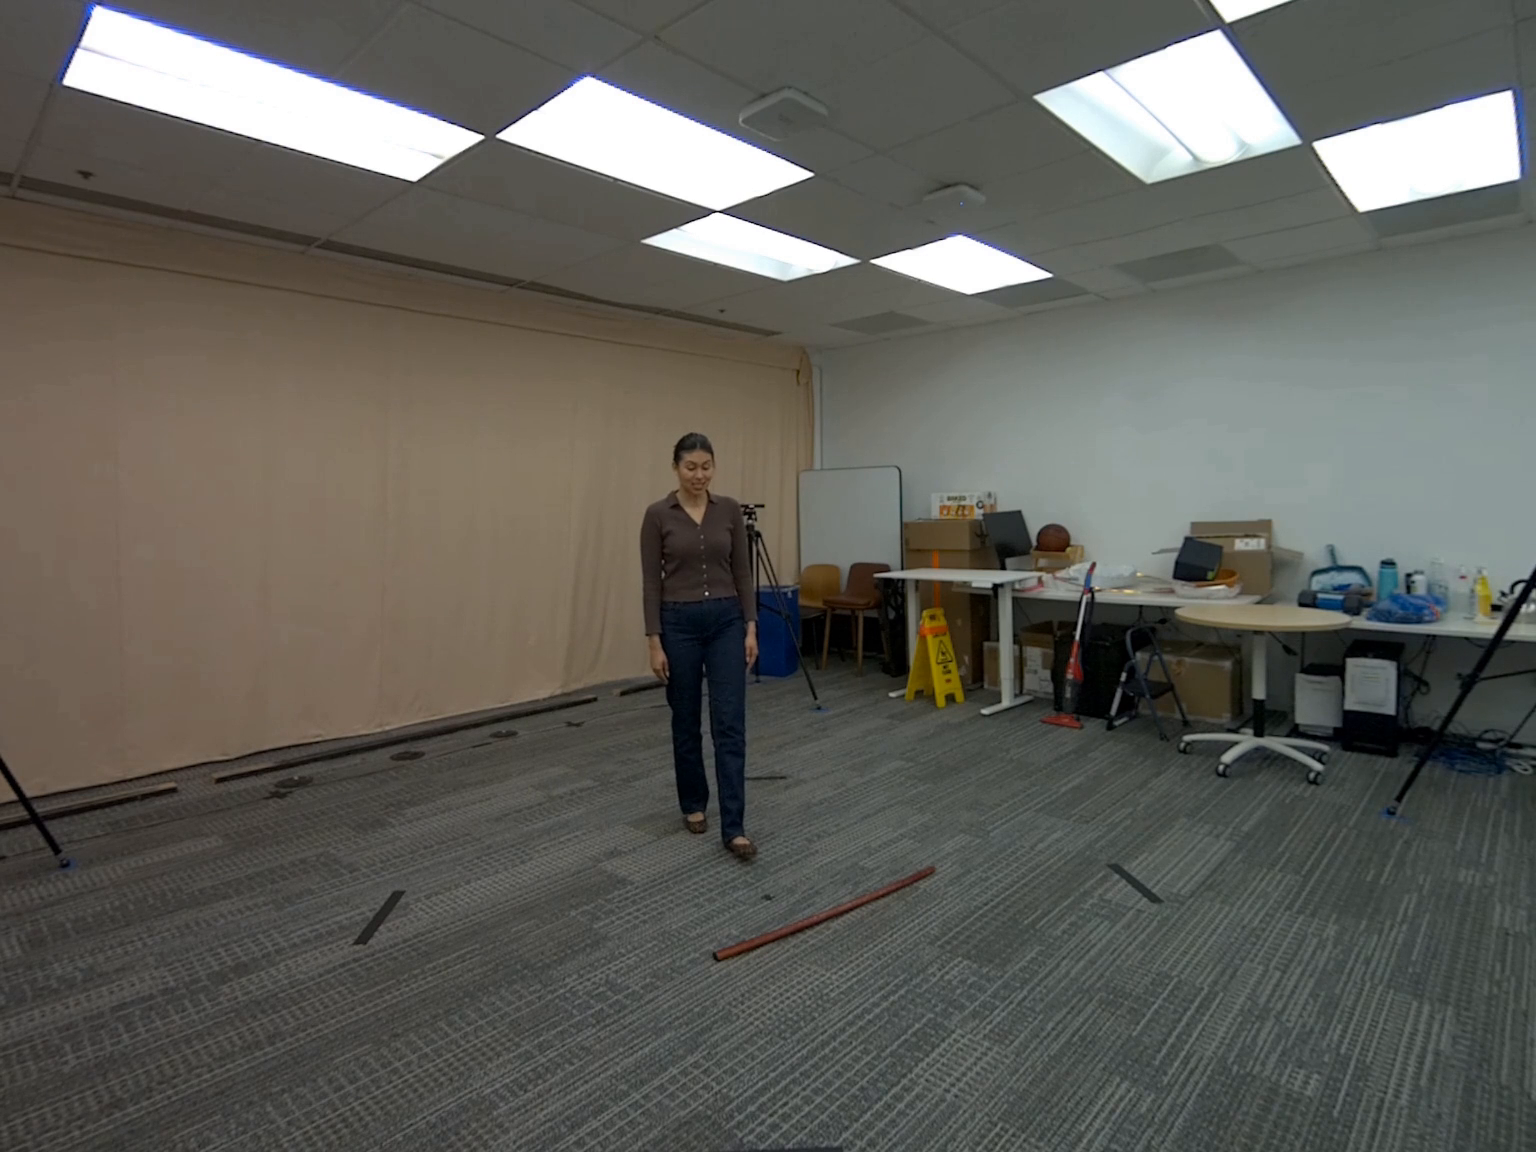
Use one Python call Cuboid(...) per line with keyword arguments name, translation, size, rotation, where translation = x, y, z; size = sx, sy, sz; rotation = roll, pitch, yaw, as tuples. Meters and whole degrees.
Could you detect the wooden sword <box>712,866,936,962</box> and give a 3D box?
Cuboid(name="wooden sword", translation=(0.236, 1.123, 2.872), size=(0.995, 0.024, 0.053), rotation=(-4, 38, -36))
